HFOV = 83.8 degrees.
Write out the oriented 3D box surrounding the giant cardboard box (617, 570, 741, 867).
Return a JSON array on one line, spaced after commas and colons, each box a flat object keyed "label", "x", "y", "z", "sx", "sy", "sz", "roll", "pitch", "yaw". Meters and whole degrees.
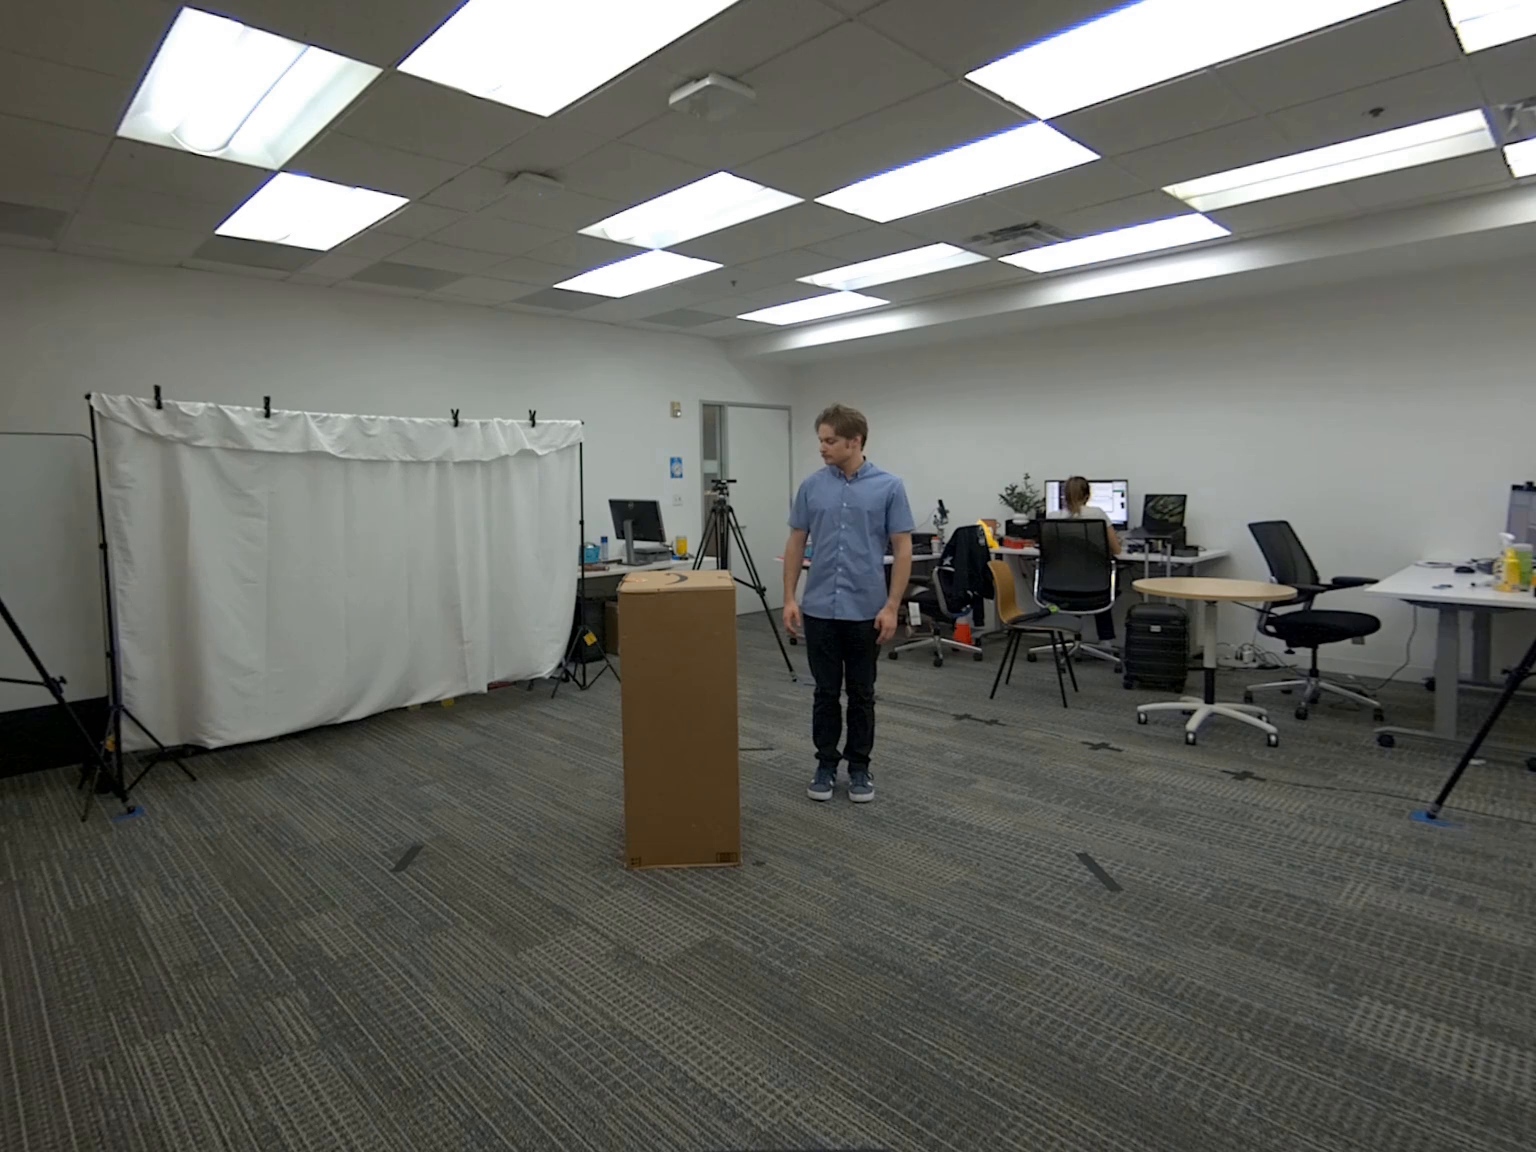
[{"label": "giant cardboard box", "x": -0.344, "y": 0.518, "z": 3.337, "sx": 0.425, "sy": 1.022, "sz": 0.581, "roll": -1, "pitch": 4, "yaw": -3}]
